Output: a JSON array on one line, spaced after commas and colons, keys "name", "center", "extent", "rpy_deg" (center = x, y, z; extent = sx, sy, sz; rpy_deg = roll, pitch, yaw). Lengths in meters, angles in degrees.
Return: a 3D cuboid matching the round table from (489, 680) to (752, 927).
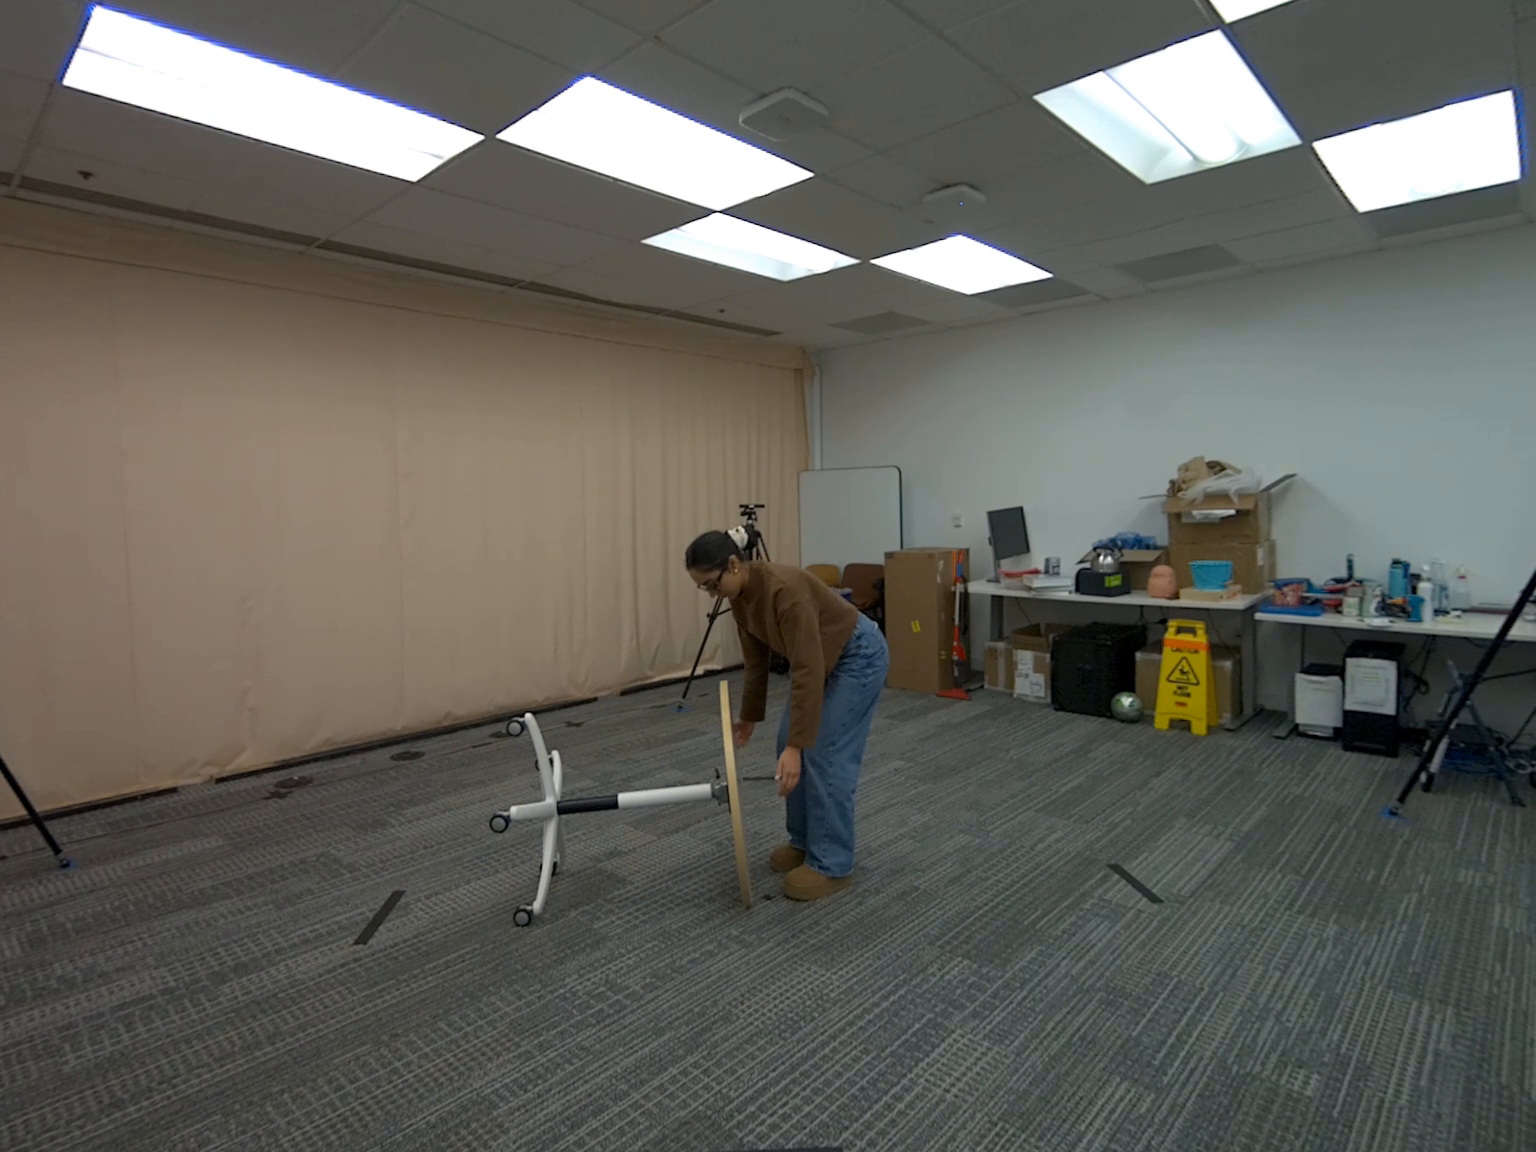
[{"name": "round table", "center": [-0.497, 0.803, 3.010], "extent": [0.795, 0.762, 0.765], "rpy_deg": [-6, 4, 0]}]
